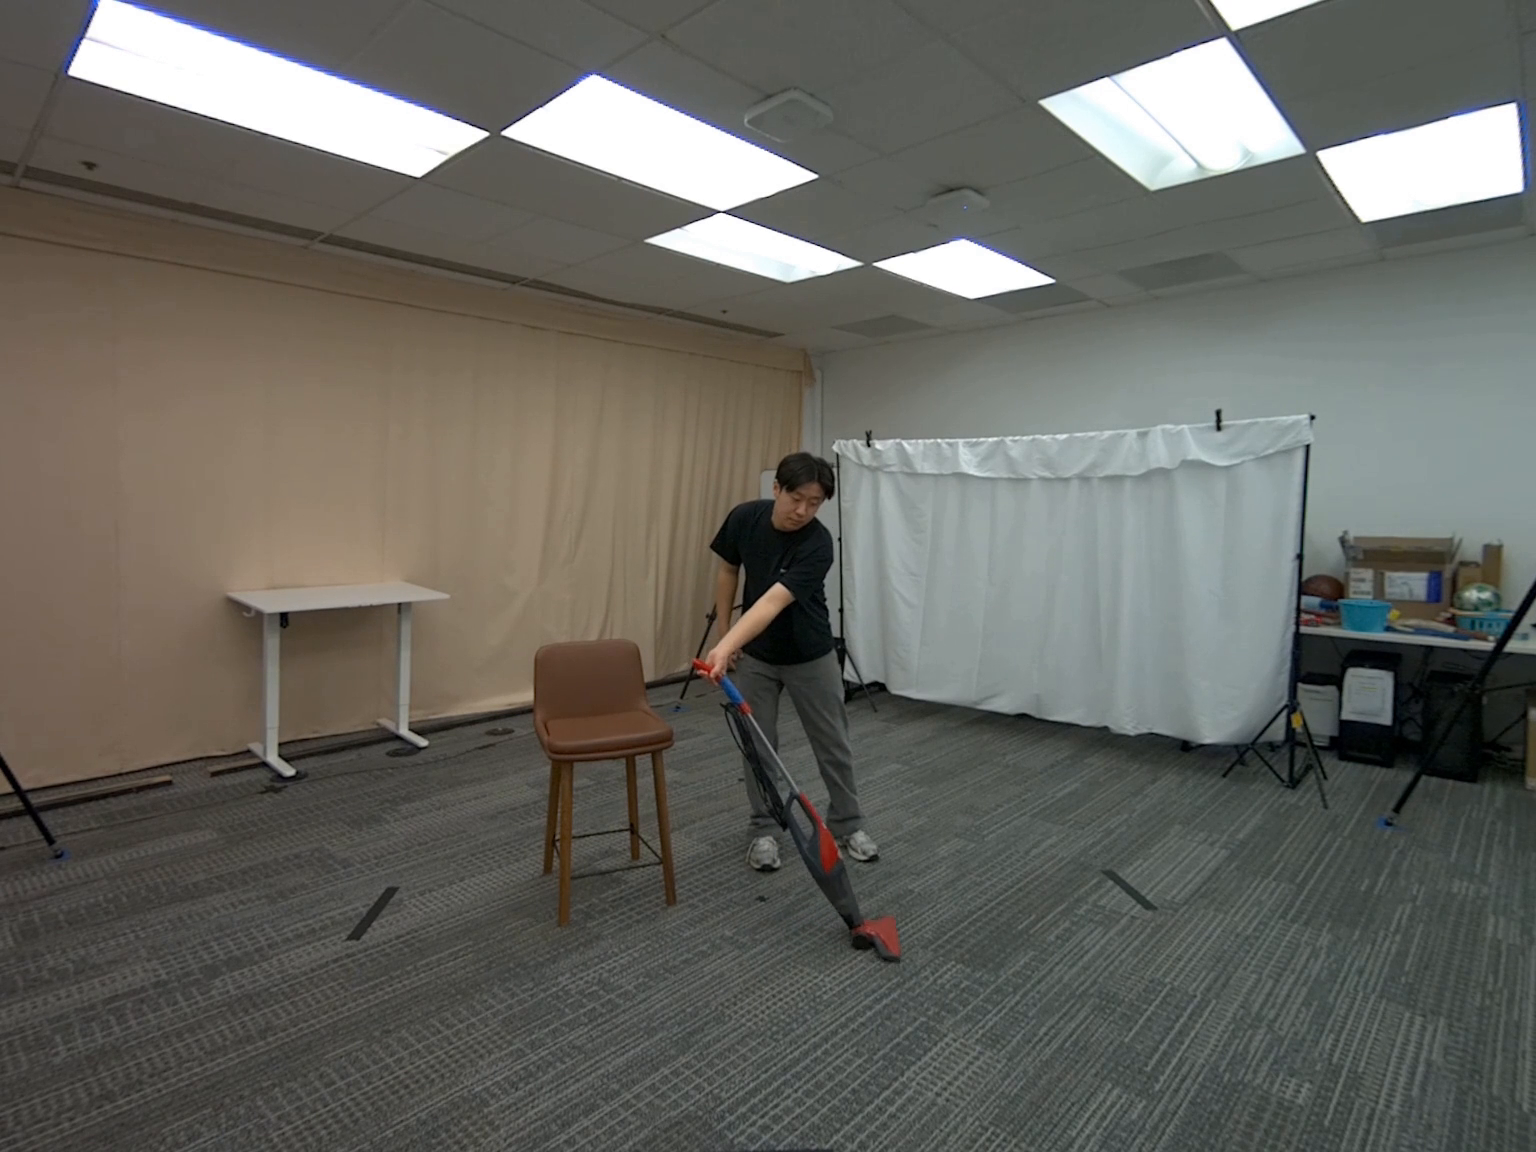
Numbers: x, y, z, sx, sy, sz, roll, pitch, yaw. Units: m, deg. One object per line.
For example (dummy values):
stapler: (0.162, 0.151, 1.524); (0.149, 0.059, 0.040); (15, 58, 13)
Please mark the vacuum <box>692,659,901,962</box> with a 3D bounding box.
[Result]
vacuum: (0.073, 0.717, 2.711); (0.145, 1.053, 0.250); (-34, -3, 11)
